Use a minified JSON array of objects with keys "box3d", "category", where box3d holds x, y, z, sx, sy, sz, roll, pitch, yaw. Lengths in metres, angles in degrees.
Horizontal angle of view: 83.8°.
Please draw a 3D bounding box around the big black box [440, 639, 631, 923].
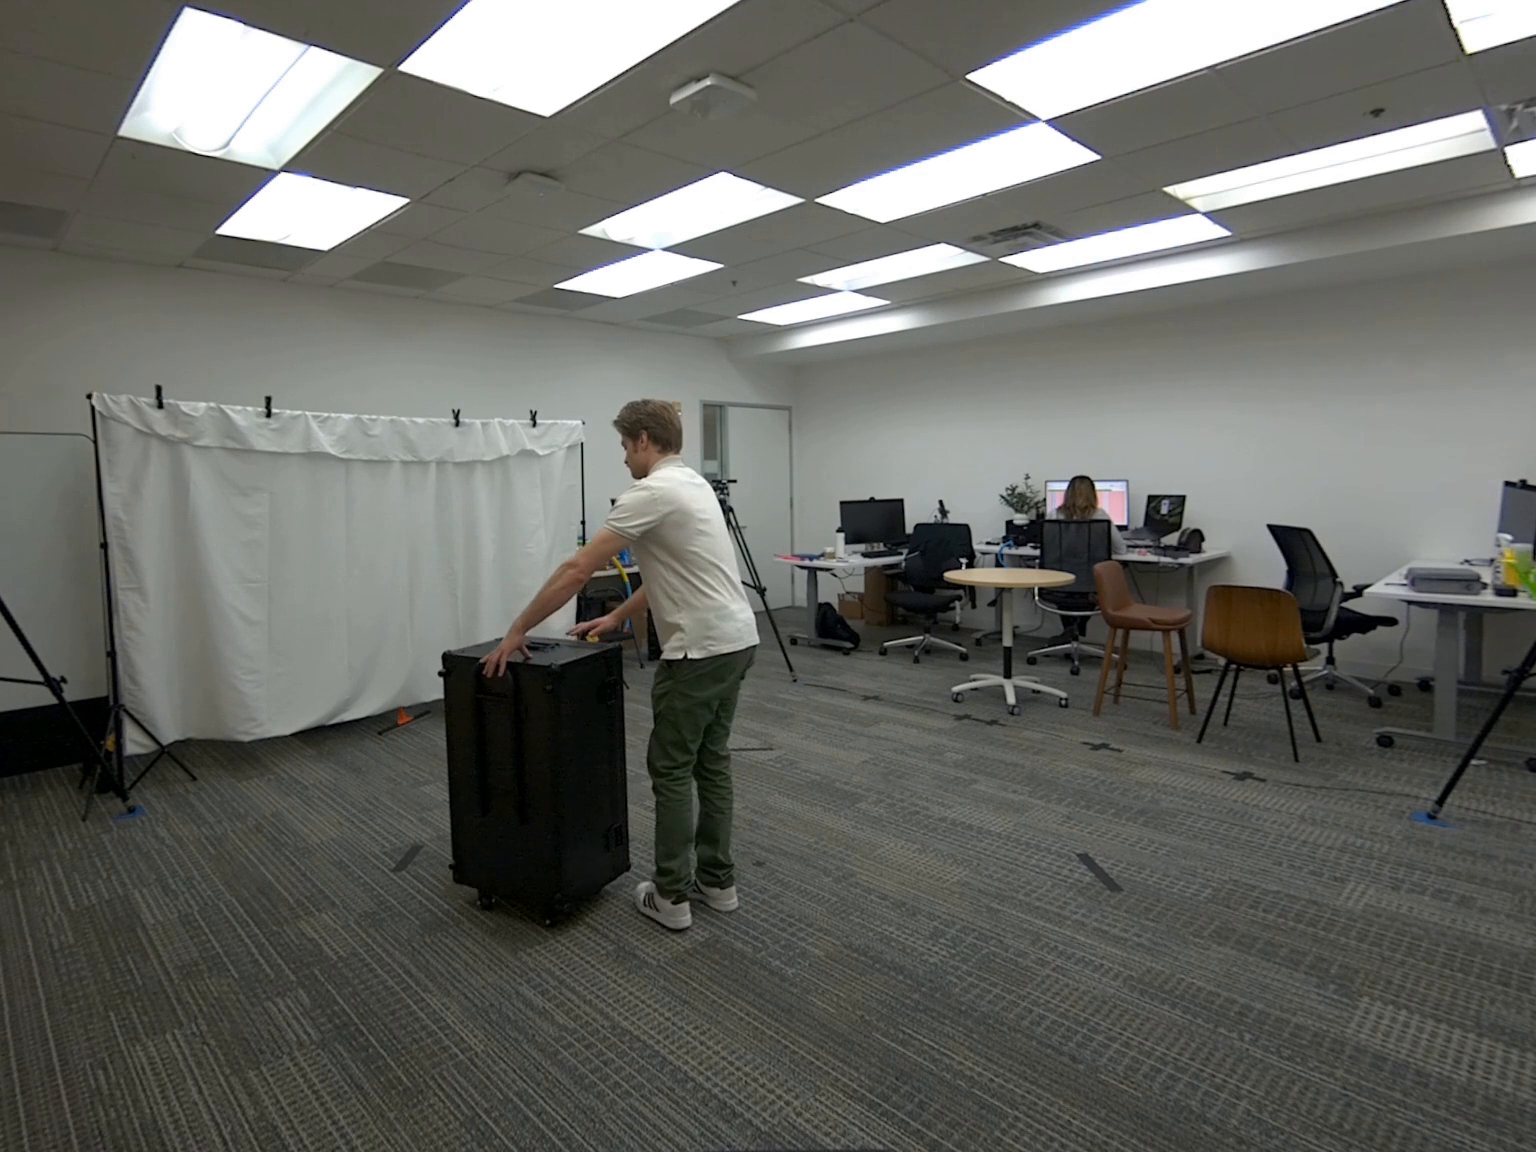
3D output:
[{"box3d":[-0.763,0.666,2.867,0.536,0.865,0.377,1,4,28],"category":"big black box"}]
